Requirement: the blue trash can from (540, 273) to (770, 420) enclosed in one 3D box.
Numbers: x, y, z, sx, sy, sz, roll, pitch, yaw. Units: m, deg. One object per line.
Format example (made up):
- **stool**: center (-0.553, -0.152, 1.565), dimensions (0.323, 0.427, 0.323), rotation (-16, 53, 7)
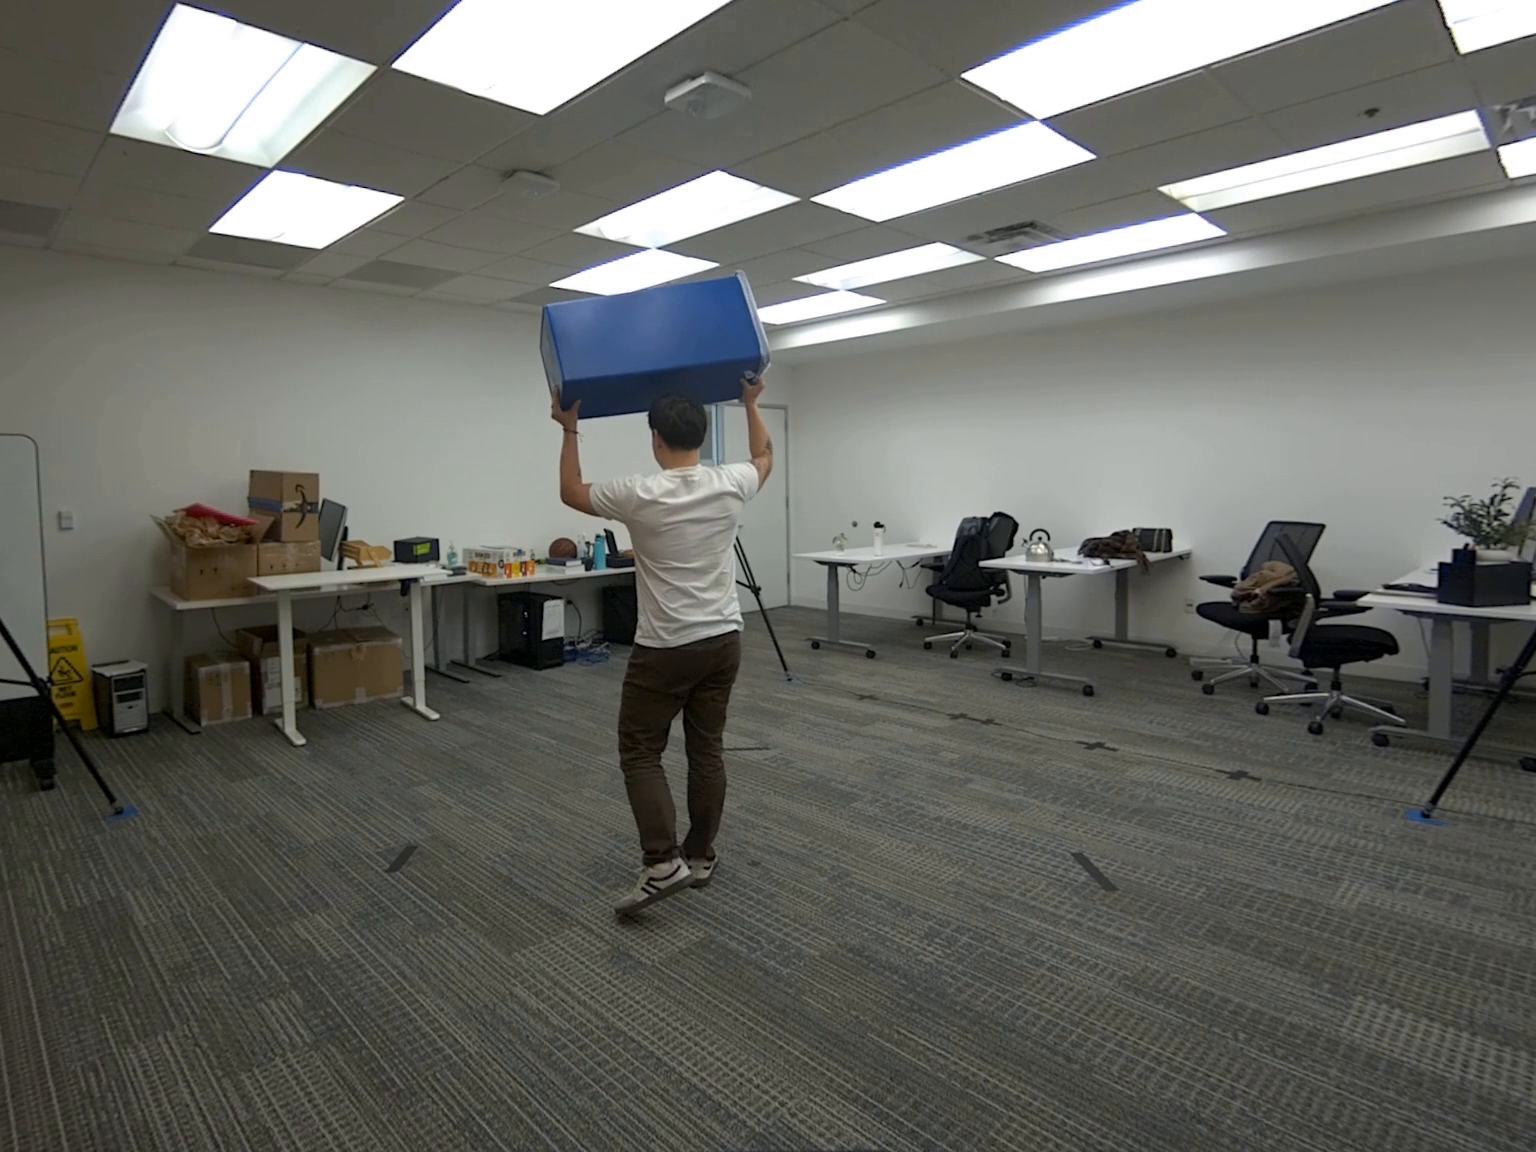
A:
- **blue trash can**: center (-0.416, -0.793, 3.018), dimensions (0.704, 0.384, 0.373), rotation (-13, -13, -18)
